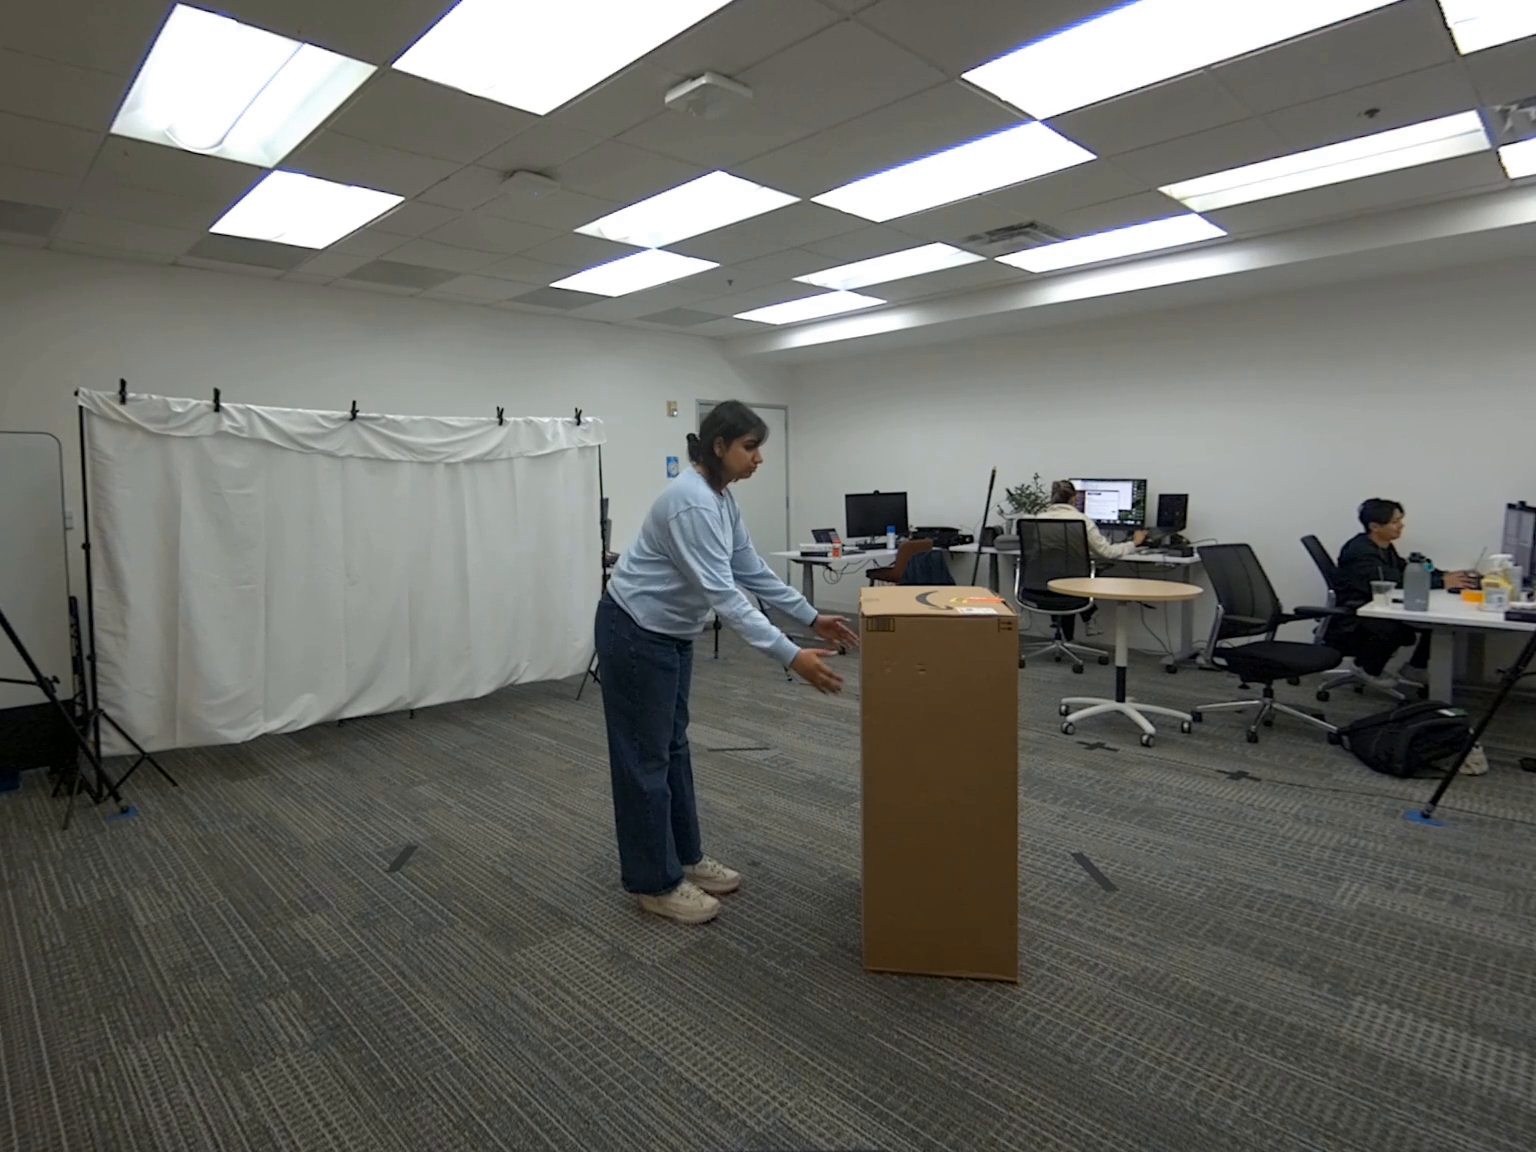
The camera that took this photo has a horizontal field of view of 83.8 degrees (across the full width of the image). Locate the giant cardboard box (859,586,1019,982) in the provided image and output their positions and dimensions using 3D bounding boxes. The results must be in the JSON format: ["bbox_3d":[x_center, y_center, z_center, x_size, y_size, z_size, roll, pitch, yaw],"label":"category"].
[{"bbox_3d":[0.506,0.577,2.627,0.430,1.022,0.575,0,4,8],"label":"giant cardboard box"}]
